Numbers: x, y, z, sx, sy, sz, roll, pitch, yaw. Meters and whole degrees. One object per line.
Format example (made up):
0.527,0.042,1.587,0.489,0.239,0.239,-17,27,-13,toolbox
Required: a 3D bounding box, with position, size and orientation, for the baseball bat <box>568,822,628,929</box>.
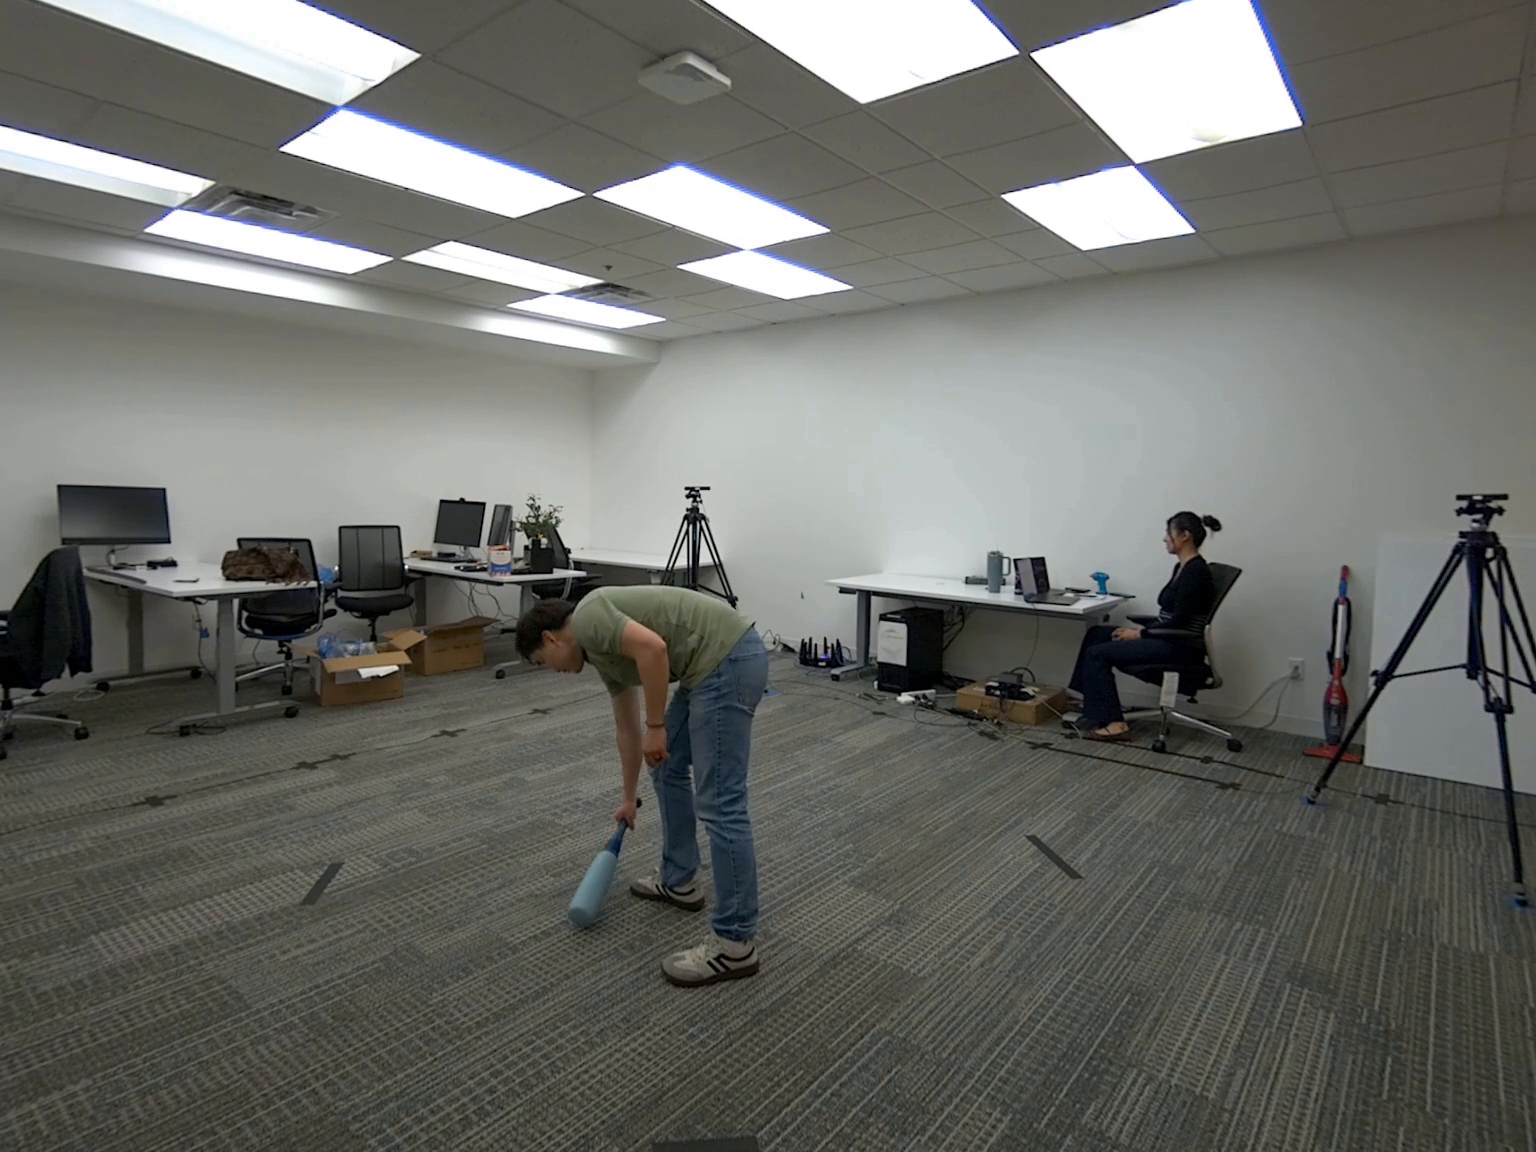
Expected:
-0.545,0.936,2.870,0.090,0.087,0.547,1,26,13,baseball bat
